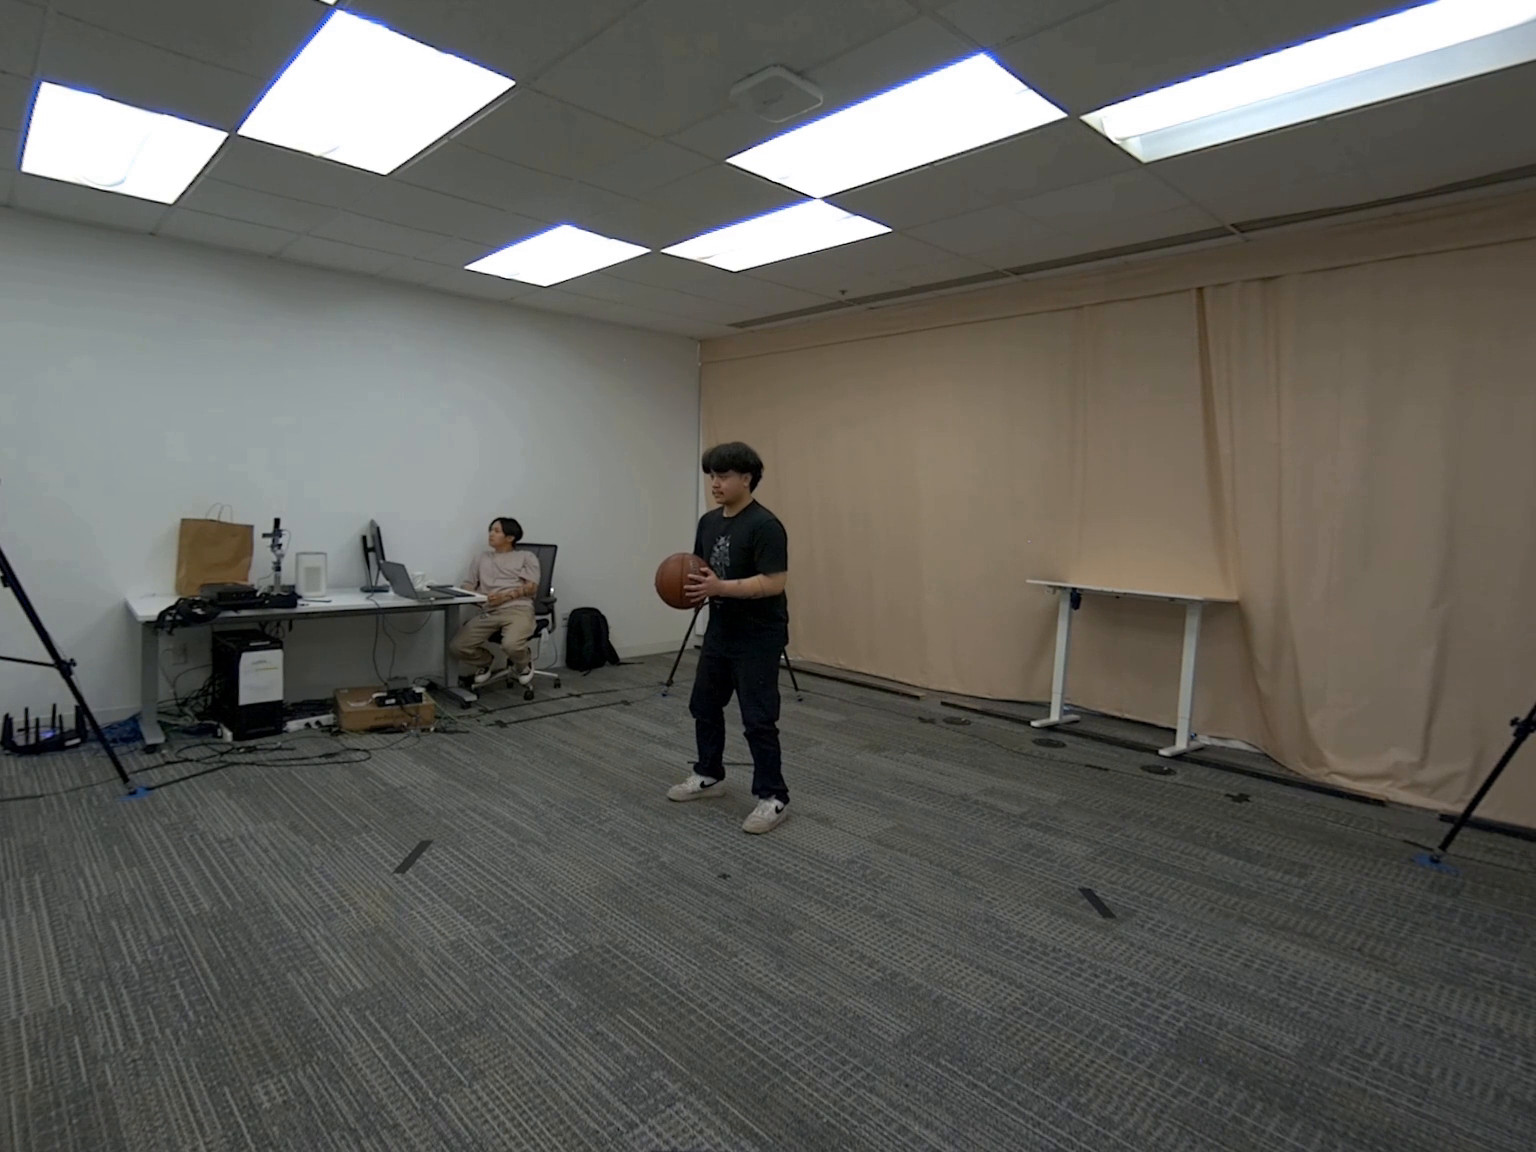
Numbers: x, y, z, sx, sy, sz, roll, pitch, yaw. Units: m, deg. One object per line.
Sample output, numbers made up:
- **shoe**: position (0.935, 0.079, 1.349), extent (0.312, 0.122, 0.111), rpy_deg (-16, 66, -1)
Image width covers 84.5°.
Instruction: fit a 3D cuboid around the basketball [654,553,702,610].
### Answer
- **basketball**: position (-0.377, 0.026, 3.537), extent (0.236, 0.235, 0.237), rpy_deg (1, 4, -1)
